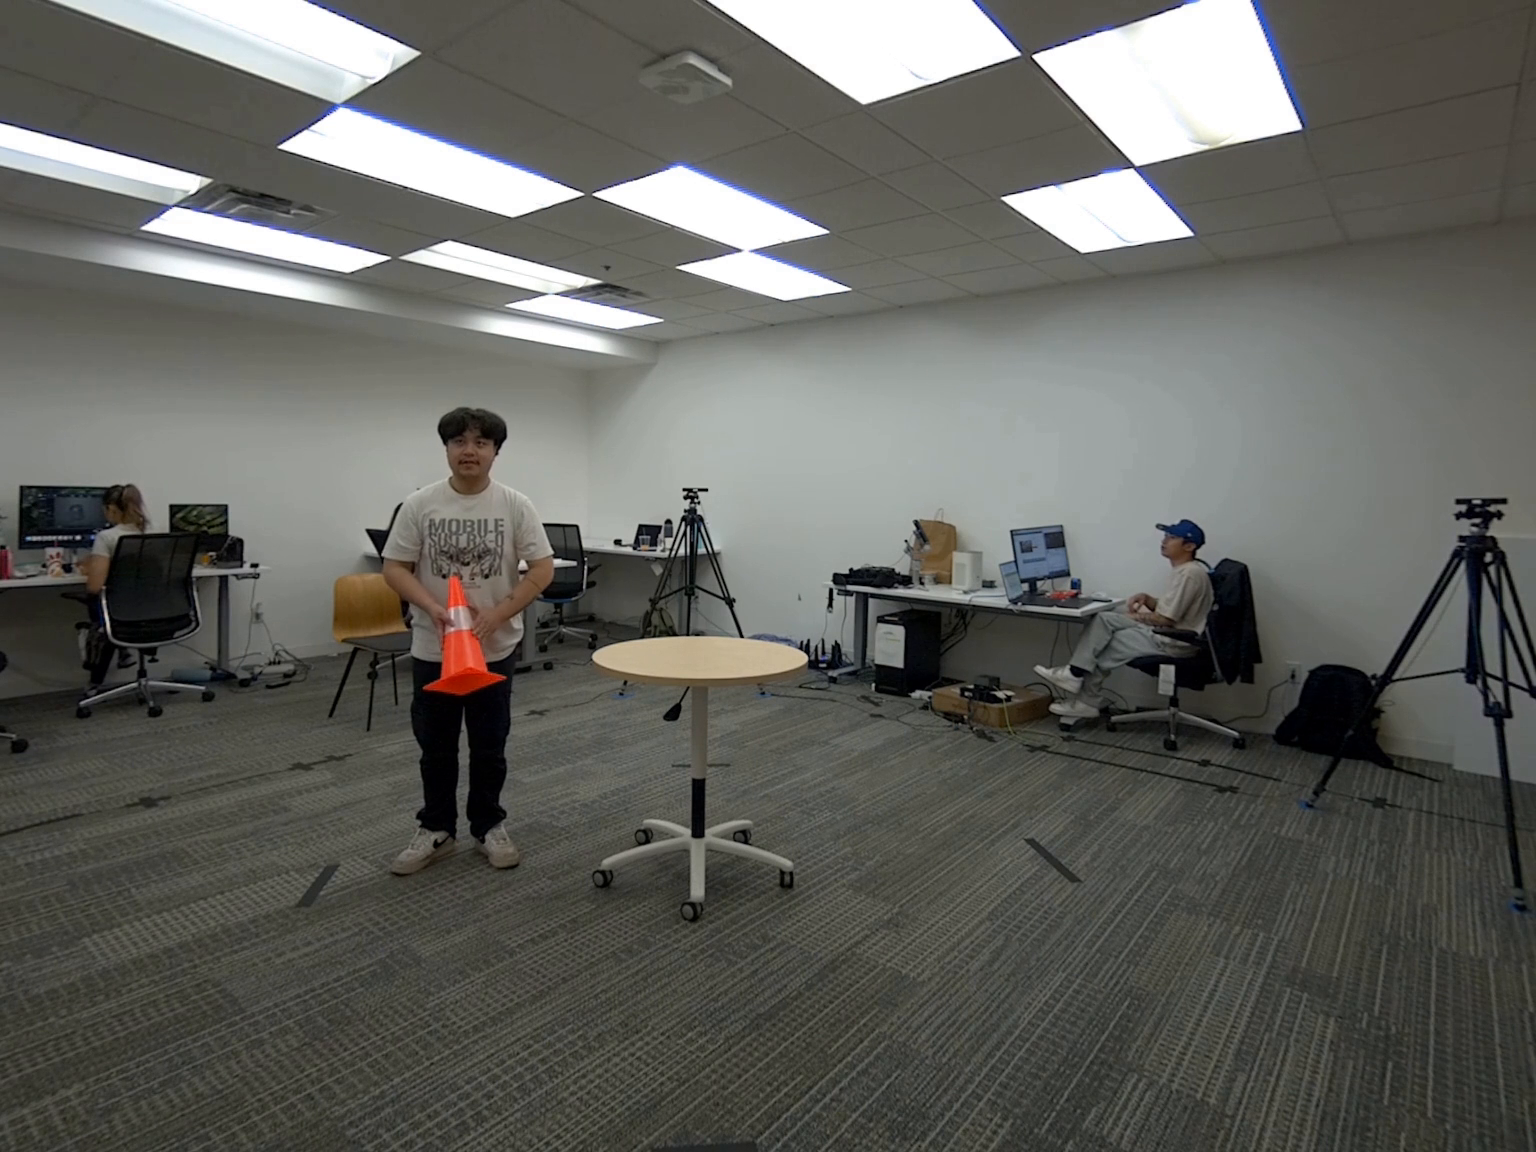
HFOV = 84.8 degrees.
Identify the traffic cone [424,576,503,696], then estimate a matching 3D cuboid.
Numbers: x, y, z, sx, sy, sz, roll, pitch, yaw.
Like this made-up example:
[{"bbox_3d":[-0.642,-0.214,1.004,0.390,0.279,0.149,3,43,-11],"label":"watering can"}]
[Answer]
[{"bbox_3d":[-1.063,0.180,2.888,0.207,0.393,0.196,-22,-23,20],"label":"traffic cone"}]
